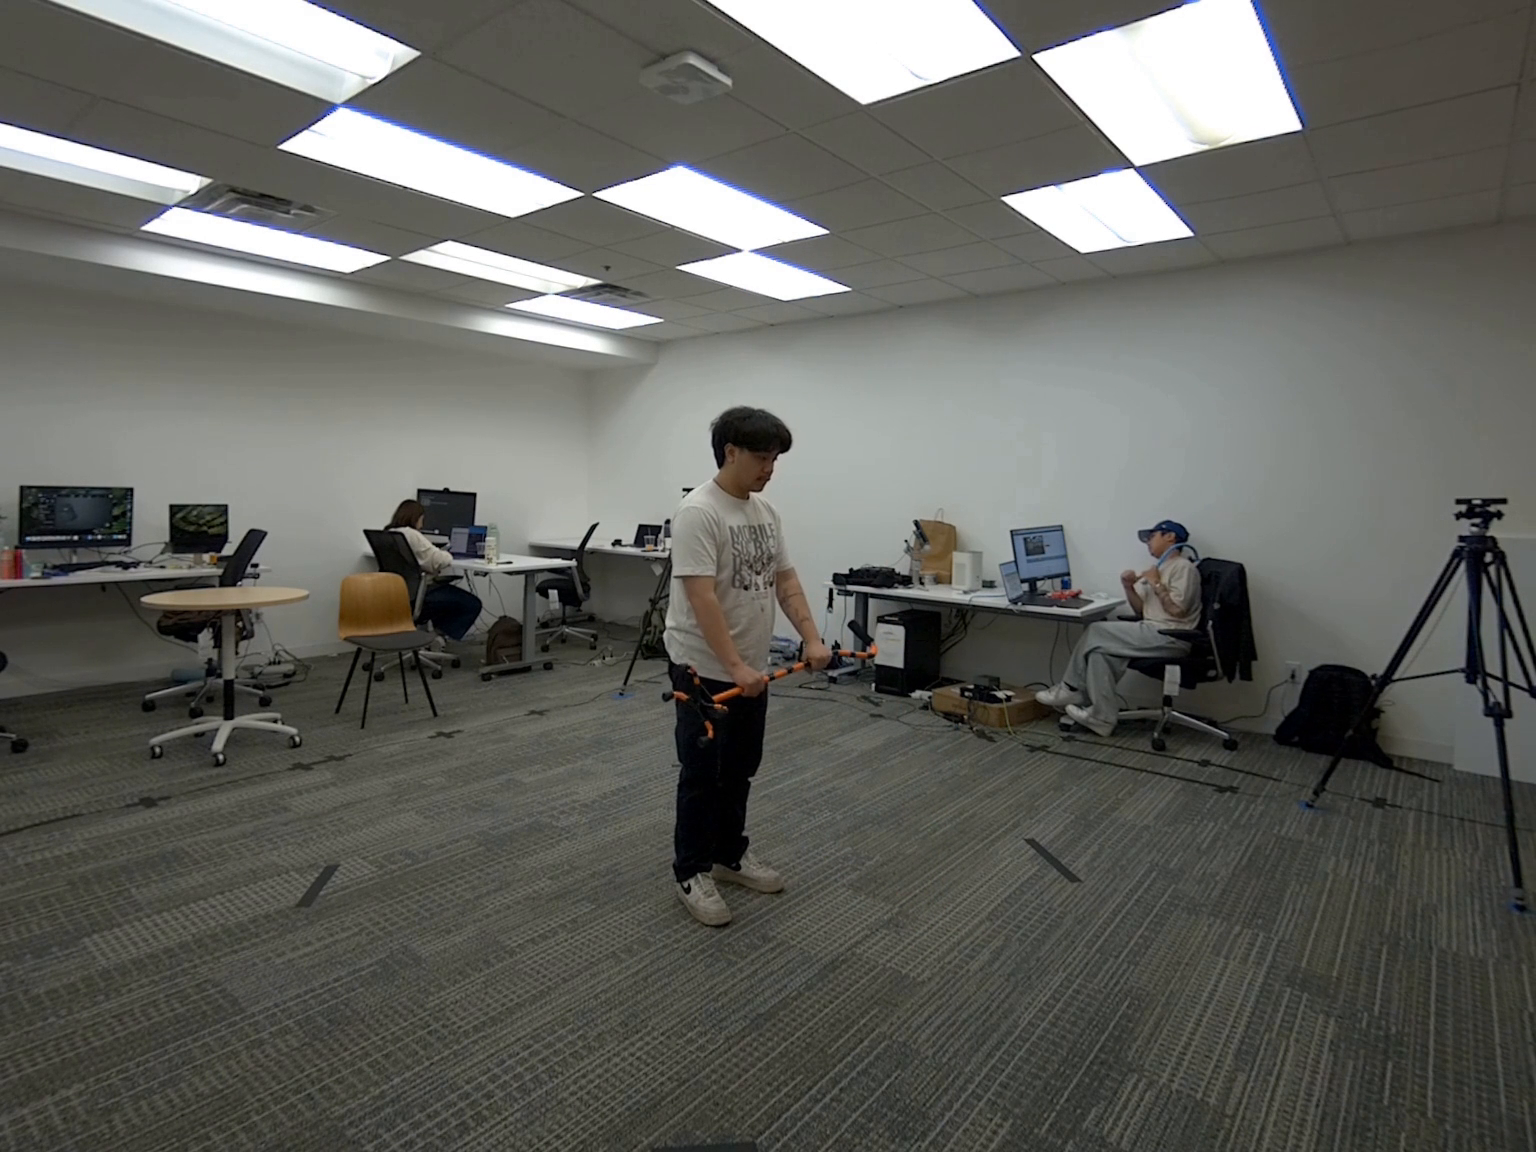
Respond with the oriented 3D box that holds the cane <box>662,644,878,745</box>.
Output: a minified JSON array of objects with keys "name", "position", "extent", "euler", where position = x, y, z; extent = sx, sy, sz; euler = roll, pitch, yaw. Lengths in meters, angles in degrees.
[{"name":"cane","position":[0.080,0.301,2.745],"extent":[0.885,0.150,0.214],"euler":[-14,49,-45]}]
